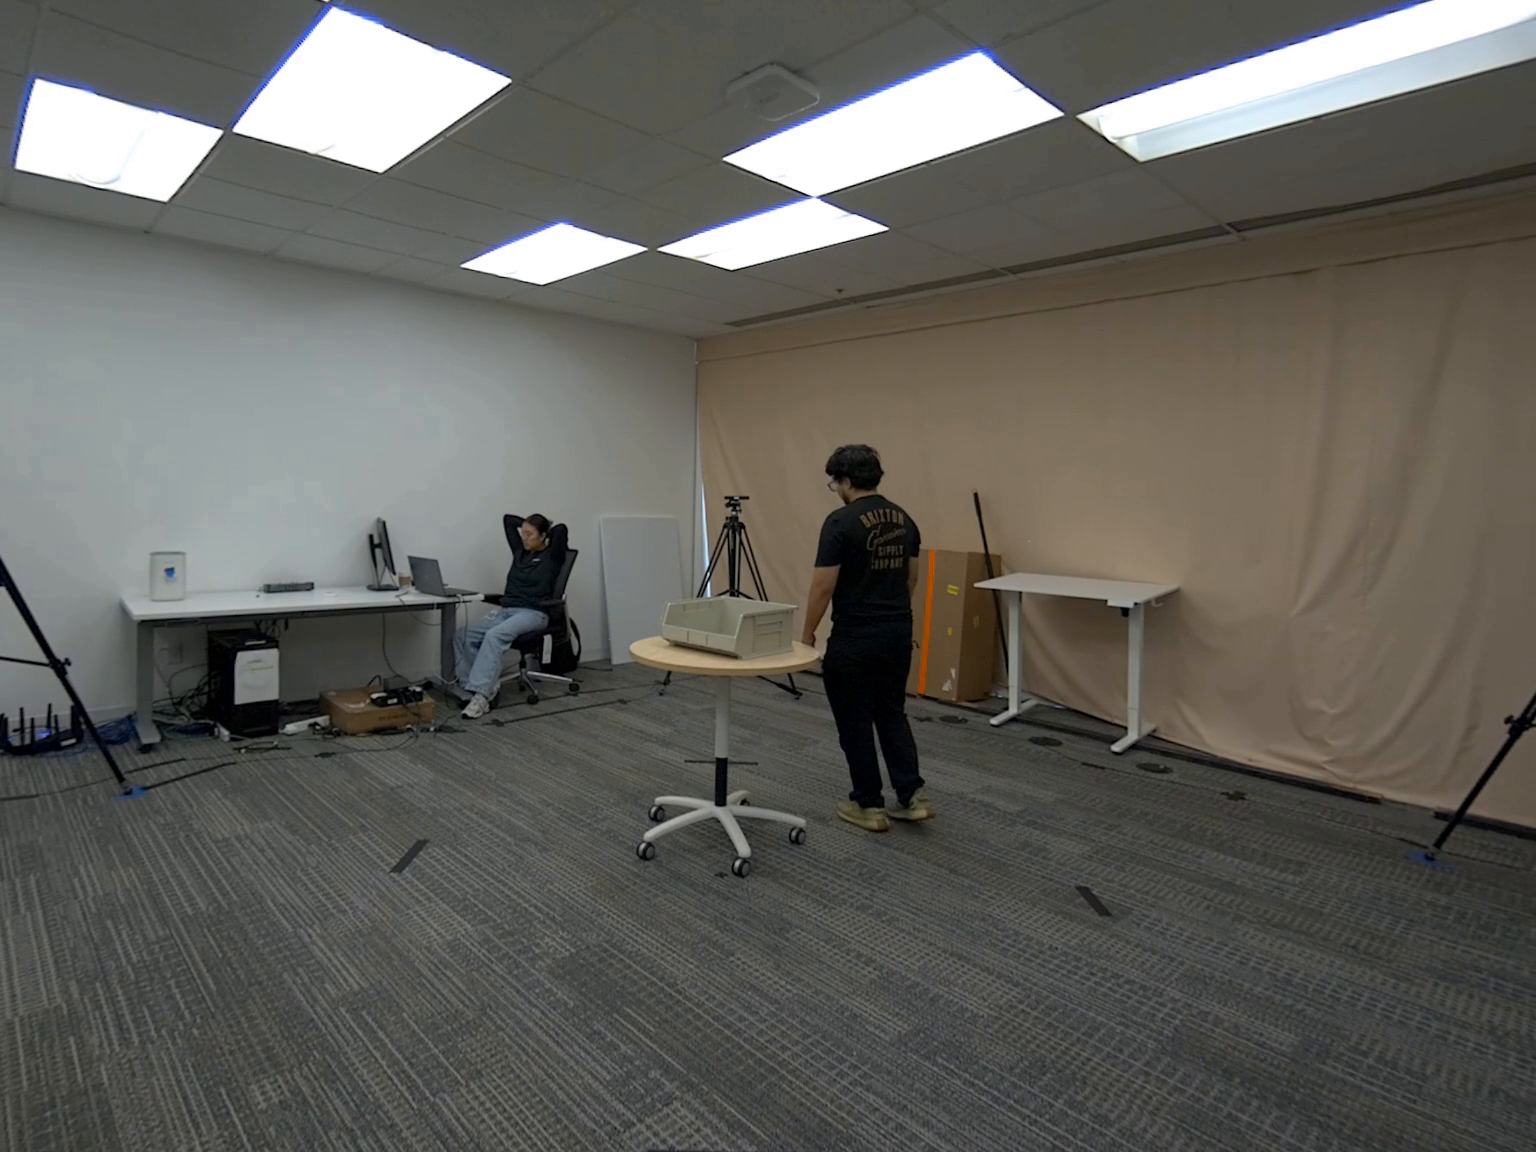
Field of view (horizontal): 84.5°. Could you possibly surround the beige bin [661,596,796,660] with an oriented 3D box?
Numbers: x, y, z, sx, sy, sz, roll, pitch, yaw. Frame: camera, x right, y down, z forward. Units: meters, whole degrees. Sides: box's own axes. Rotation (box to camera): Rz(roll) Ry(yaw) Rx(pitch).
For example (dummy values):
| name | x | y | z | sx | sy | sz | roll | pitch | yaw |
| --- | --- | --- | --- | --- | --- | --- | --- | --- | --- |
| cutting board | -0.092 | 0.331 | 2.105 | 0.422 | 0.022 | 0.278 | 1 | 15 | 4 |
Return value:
| name | x | y | z | sx | sy | sz | roll | pitch | yaw |
| --- | --- | --- | --- | --- | --- | --- | --- | --- | --- |
| beige bin | -0.167 | 0.206 | 3.410 | 0.433 | 0.188 | 0.369 | 6 | 6 | 40 |
